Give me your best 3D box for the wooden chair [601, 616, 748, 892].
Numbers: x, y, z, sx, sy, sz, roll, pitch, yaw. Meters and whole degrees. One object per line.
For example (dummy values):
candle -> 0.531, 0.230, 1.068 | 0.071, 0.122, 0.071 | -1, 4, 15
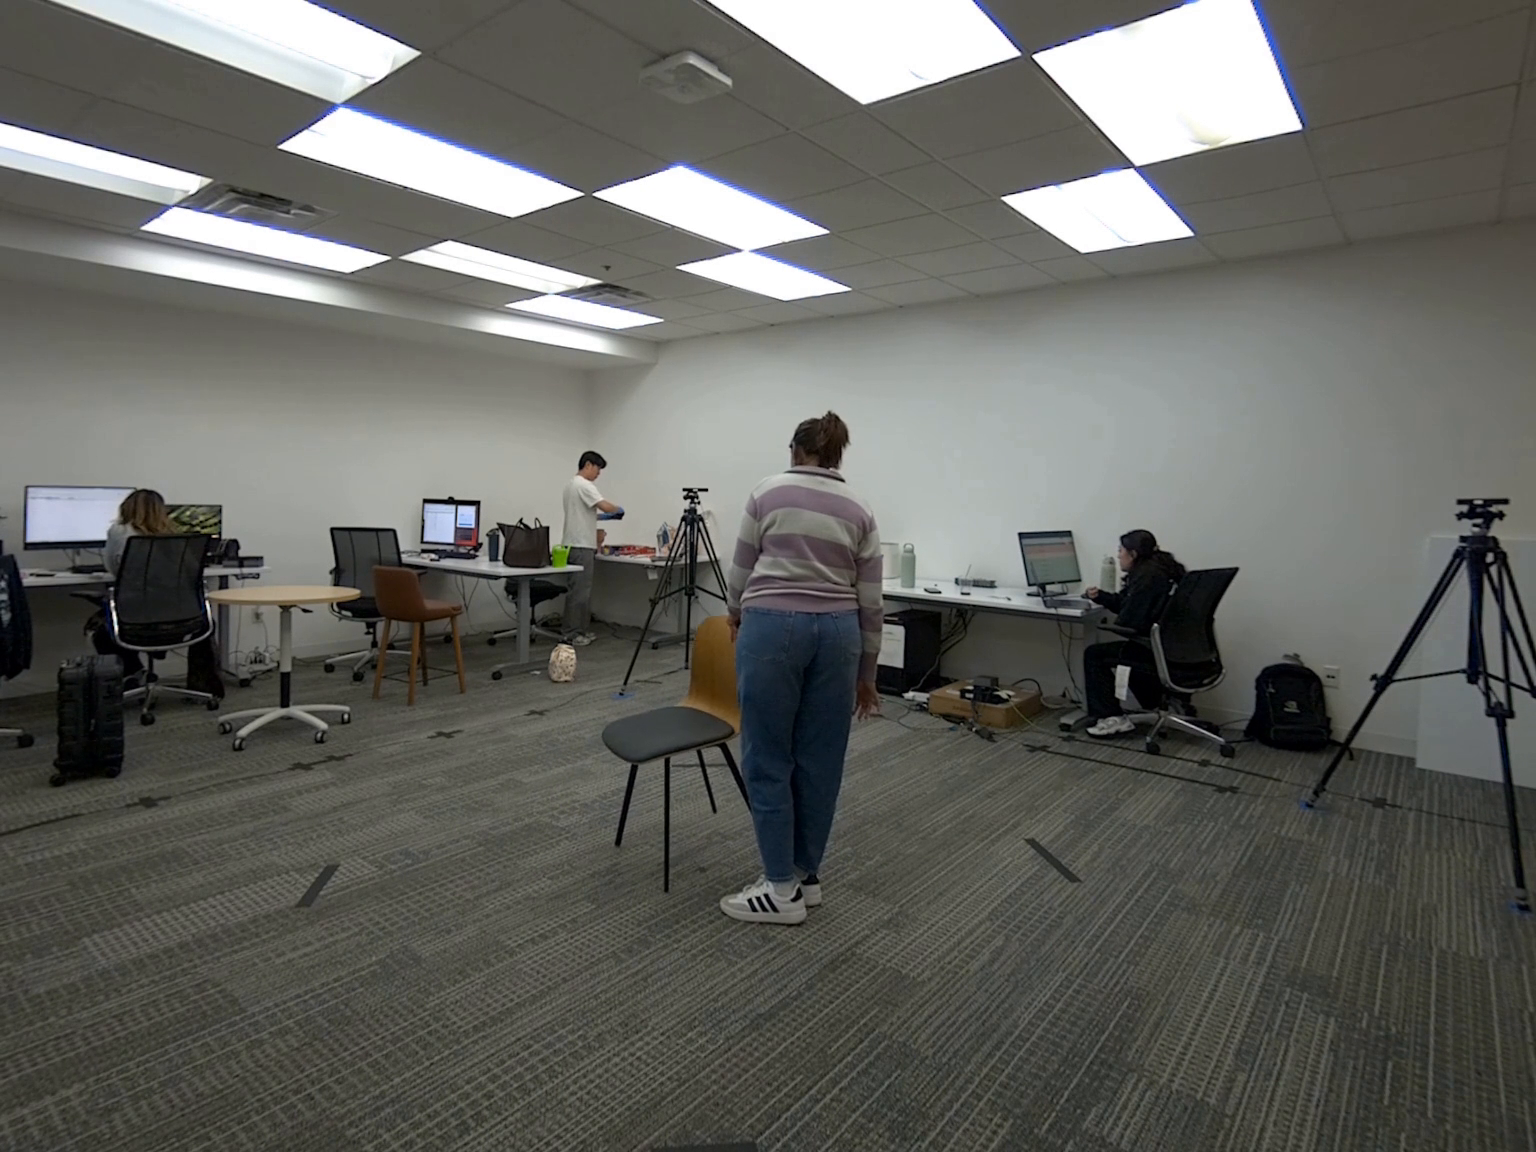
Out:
wooden chair -> -0.343, 0.614, 3.168 | 0.510, 0.873, 0.493 | -4, 6, -31
